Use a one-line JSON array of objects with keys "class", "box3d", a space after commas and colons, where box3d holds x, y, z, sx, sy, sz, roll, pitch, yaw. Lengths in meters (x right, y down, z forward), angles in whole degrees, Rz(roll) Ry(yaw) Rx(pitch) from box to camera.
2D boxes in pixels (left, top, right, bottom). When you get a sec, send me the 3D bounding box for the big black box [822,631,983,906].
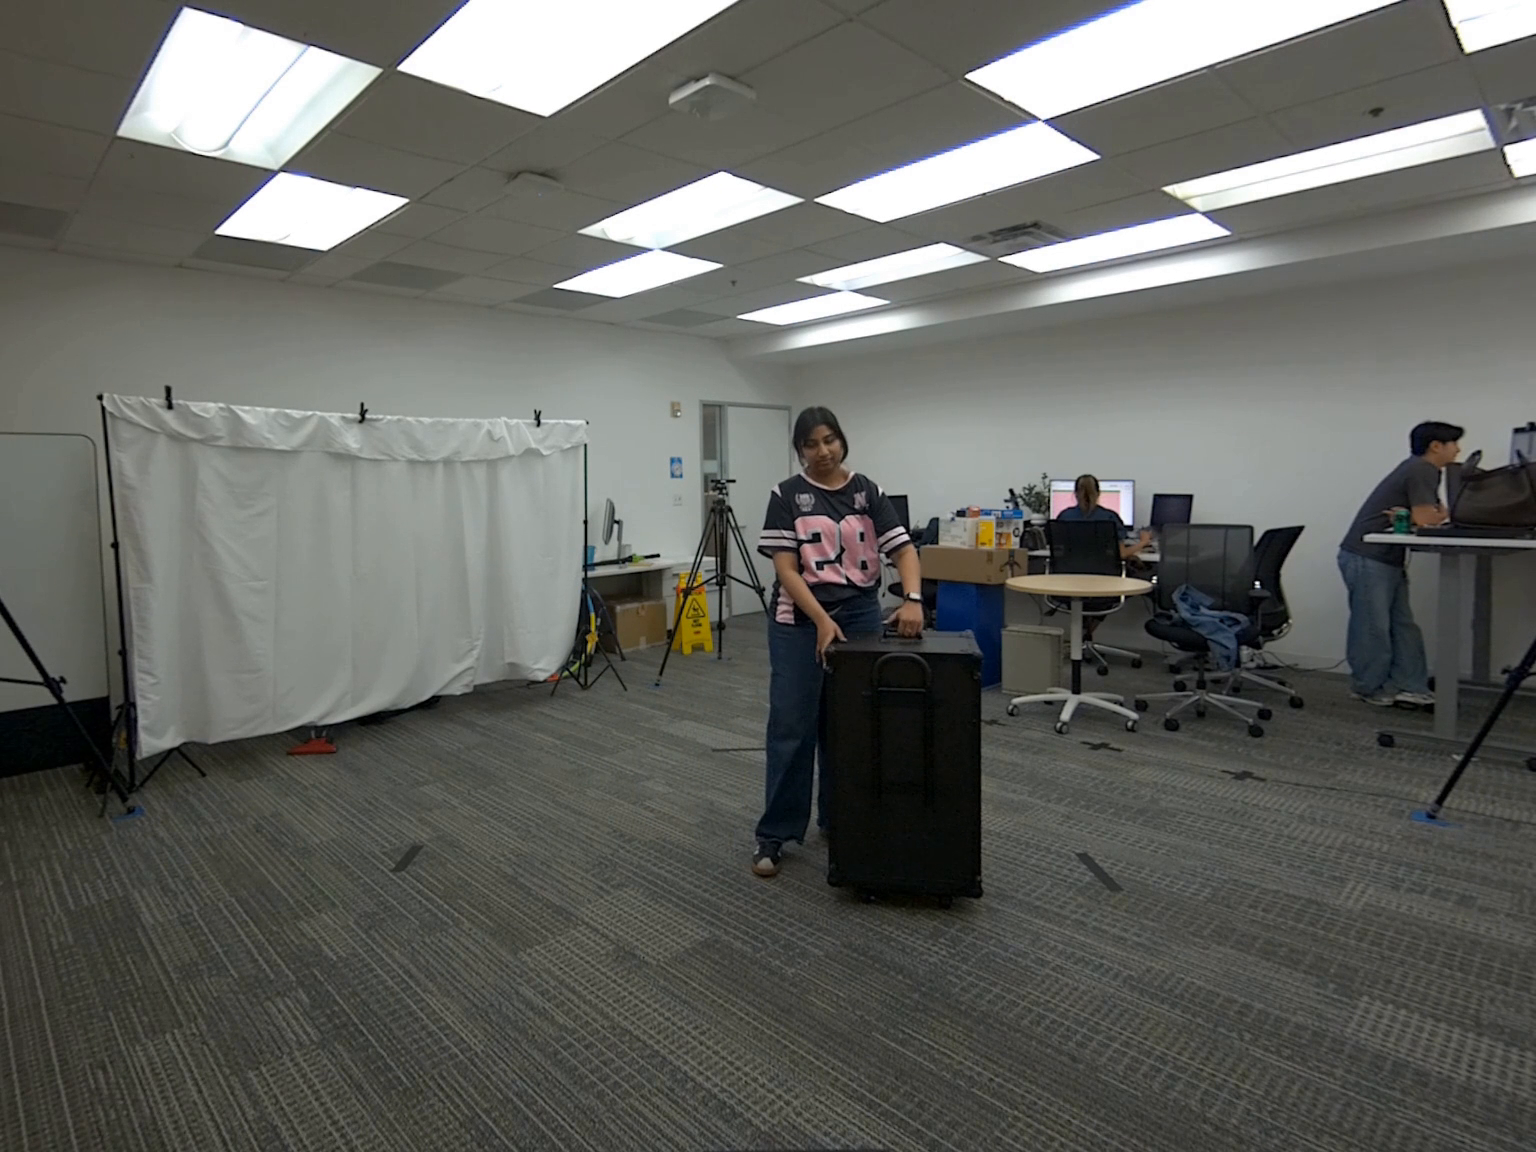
[{"class": "big black box", "box3d": [0.466, 0.641, 2.862, 0.529, 0.865, 0.383, -1, 5, 10]}]
